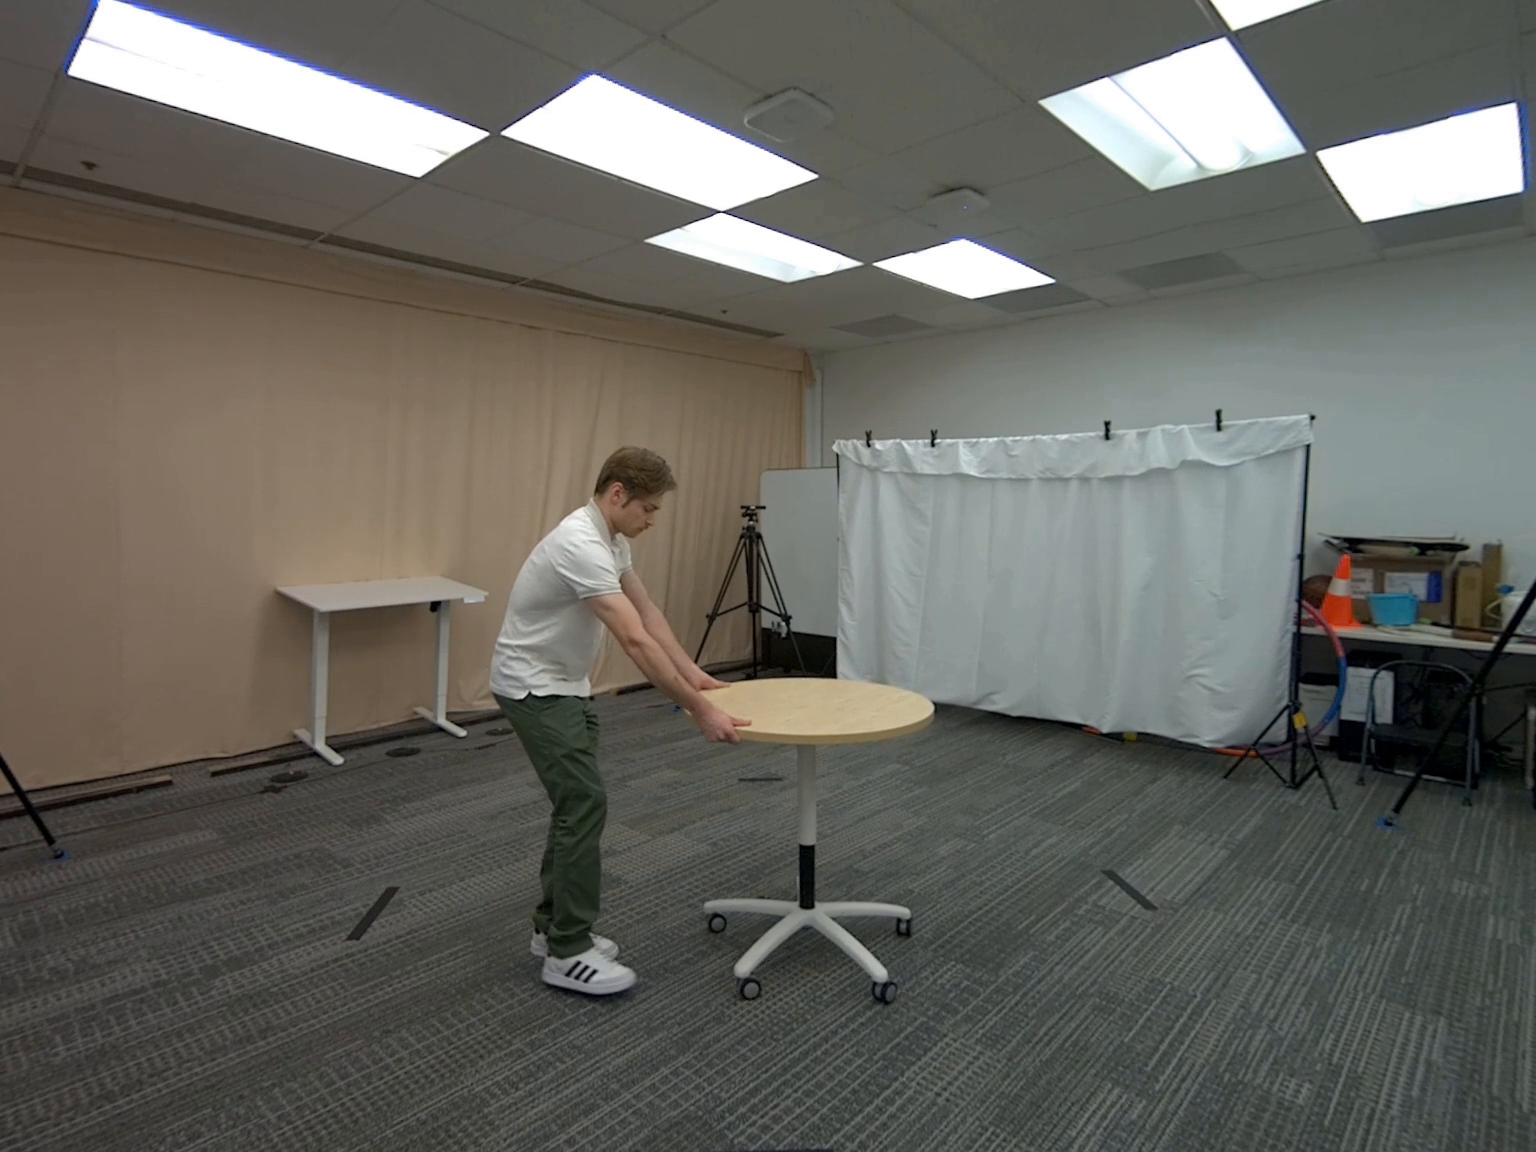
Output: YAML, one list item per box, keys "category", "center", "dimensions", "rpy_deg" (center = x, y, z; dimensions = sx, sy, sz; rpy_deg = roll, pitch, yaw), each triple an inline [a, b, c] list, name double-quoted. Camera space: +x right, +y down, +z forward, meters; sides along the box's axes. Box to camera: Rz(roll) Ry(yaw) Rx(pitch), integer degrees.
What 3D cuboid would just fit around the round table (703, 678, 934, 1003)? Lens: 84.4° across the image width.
- category: "round table"
  center: [0.115, 0.783, 2.607]
  dimensions: [0.784, 0.785, 0.788]
  rpy_deg: [-1, 3, -2]
